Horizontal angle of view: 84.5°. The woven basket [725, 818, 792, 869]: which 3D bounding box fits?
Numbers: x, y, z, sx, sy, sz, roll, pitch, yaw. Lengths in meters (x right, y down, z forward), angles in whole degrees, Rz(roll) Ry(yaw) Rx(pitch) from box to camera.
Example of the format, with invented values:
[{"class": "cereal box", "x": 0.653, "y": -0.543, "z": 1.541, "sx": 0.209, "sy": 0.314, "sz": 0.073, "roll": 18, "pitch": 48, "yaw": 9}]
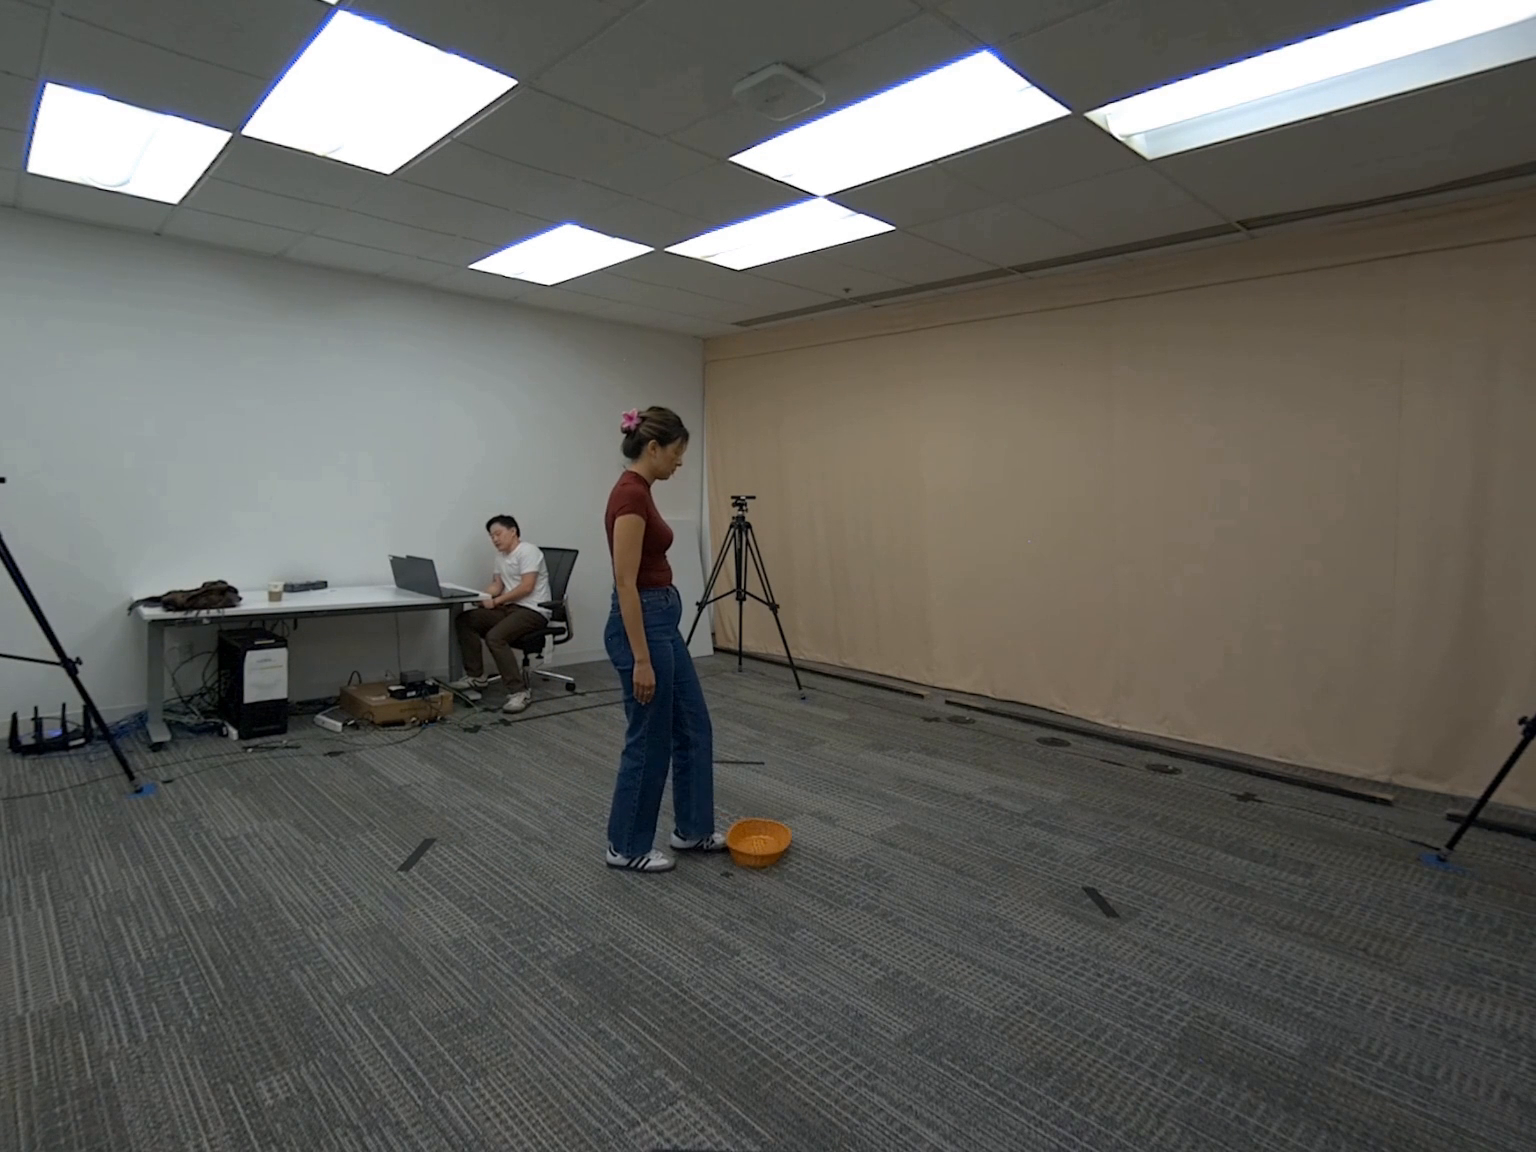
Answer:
[{"class": "woven basket", "x": -0.049, "y": 1.045, "z": 3.299, "sx": 0.255, "sy": 0.073, "sz": 0.347, "roll": 4, "pitch": 5, "yaw": 13}]
